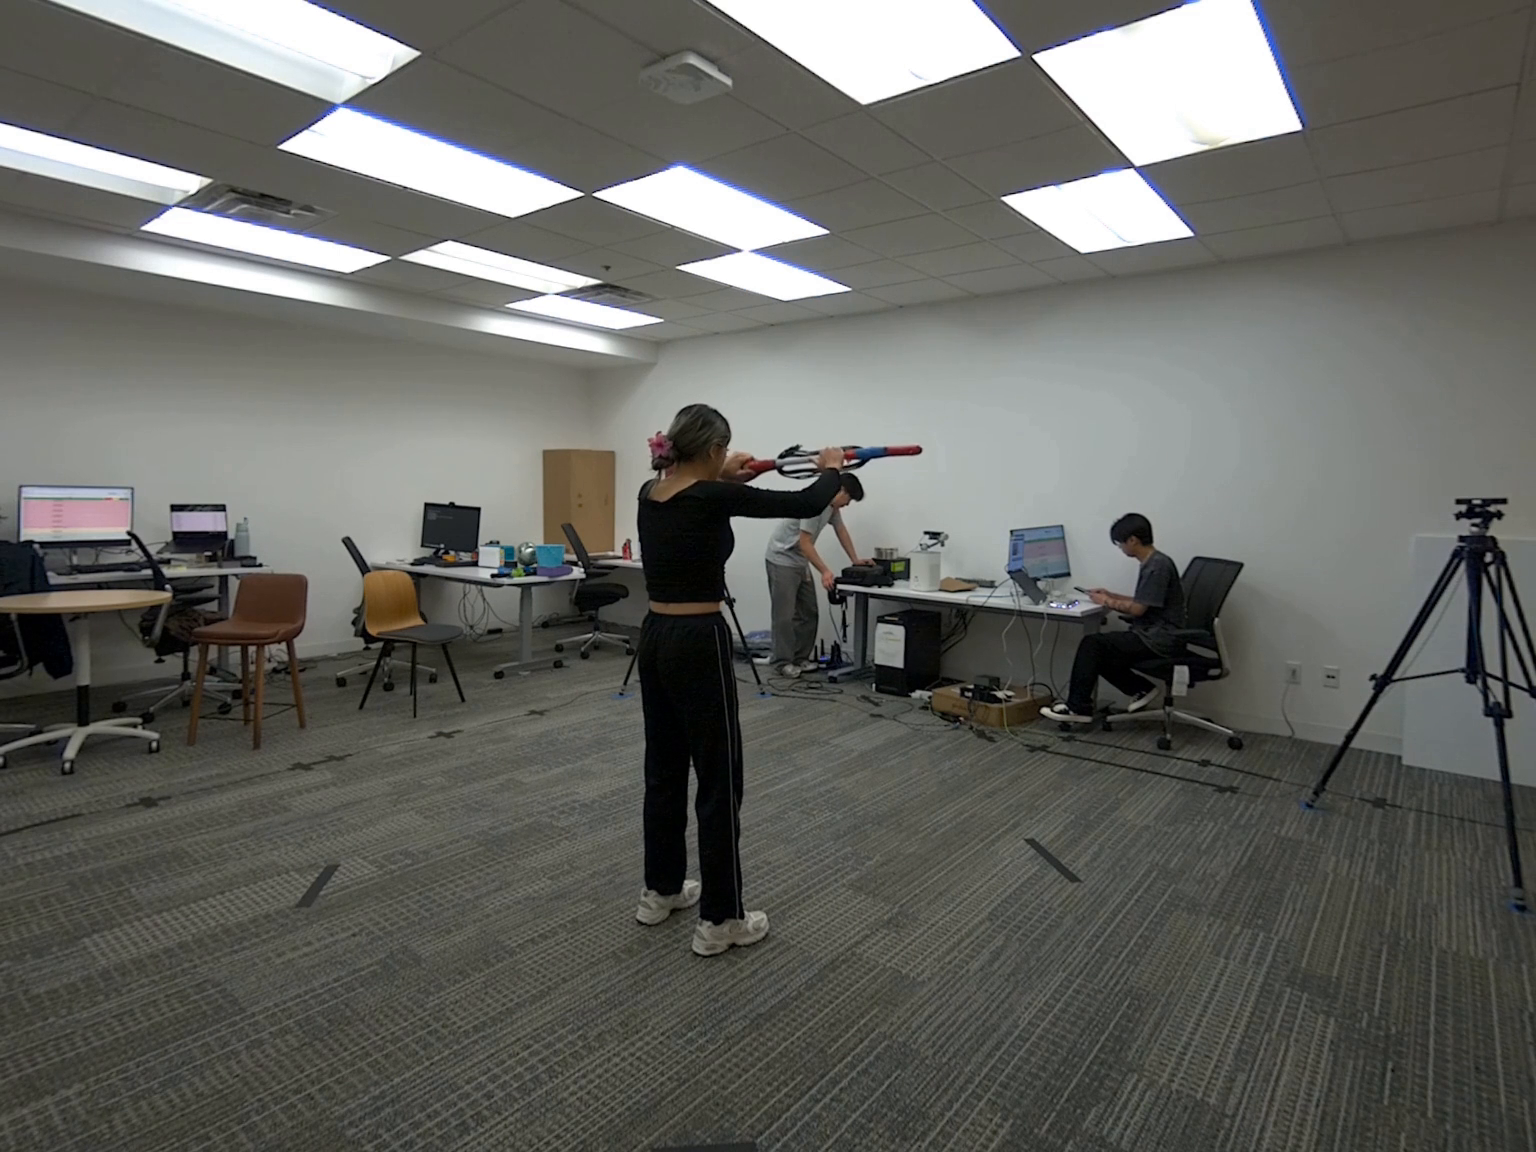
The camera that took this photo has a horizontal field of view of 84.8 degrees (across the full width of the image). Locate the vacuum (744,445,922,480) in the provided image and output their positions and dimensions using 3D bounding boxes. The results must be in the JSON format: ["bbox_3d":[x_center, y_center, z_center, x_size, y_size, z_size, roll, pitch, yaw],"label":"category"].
[{"bbox_3d":[0.047,-0.389,2.968,1.083,0.252,0.140,1,3,42],"label":"vacuum"}]
